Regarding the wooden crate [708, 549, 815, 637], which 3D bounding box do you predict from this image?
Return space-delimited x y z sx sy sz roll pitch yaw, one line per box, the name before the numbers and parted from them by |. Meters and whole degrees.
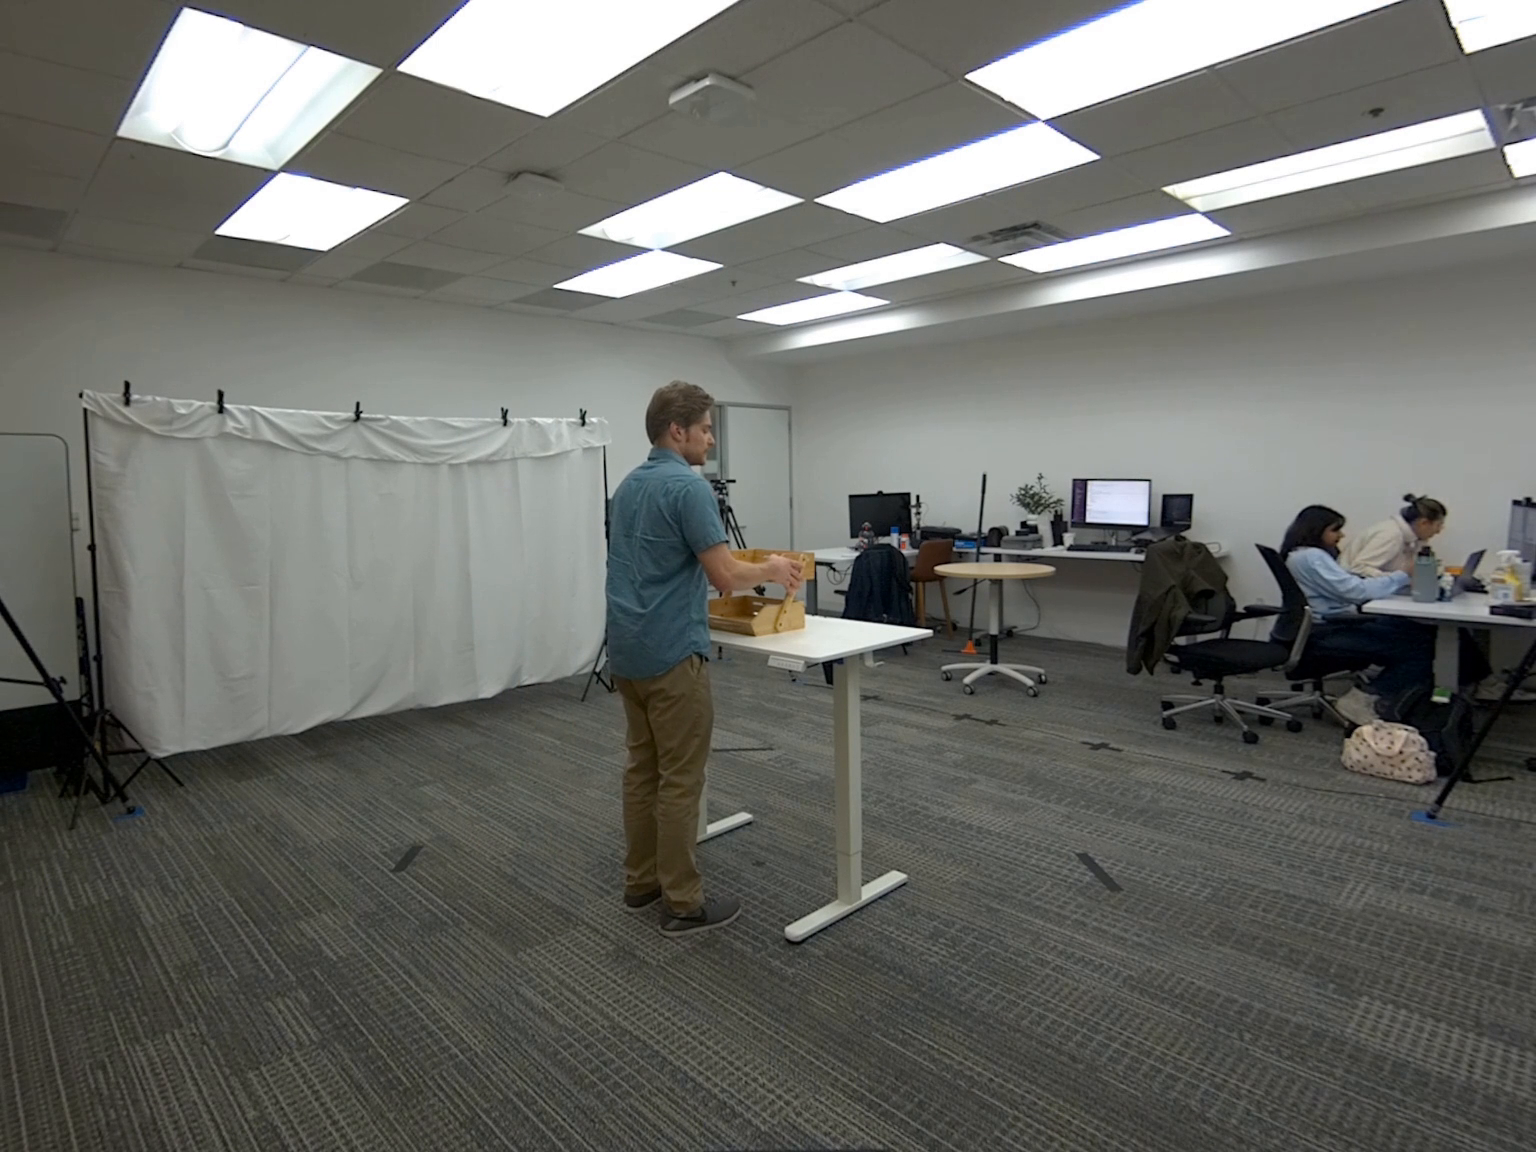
wooden crate | -0.050 0.047 2.982 0.294 0.272 0.334 -4 6 -43
